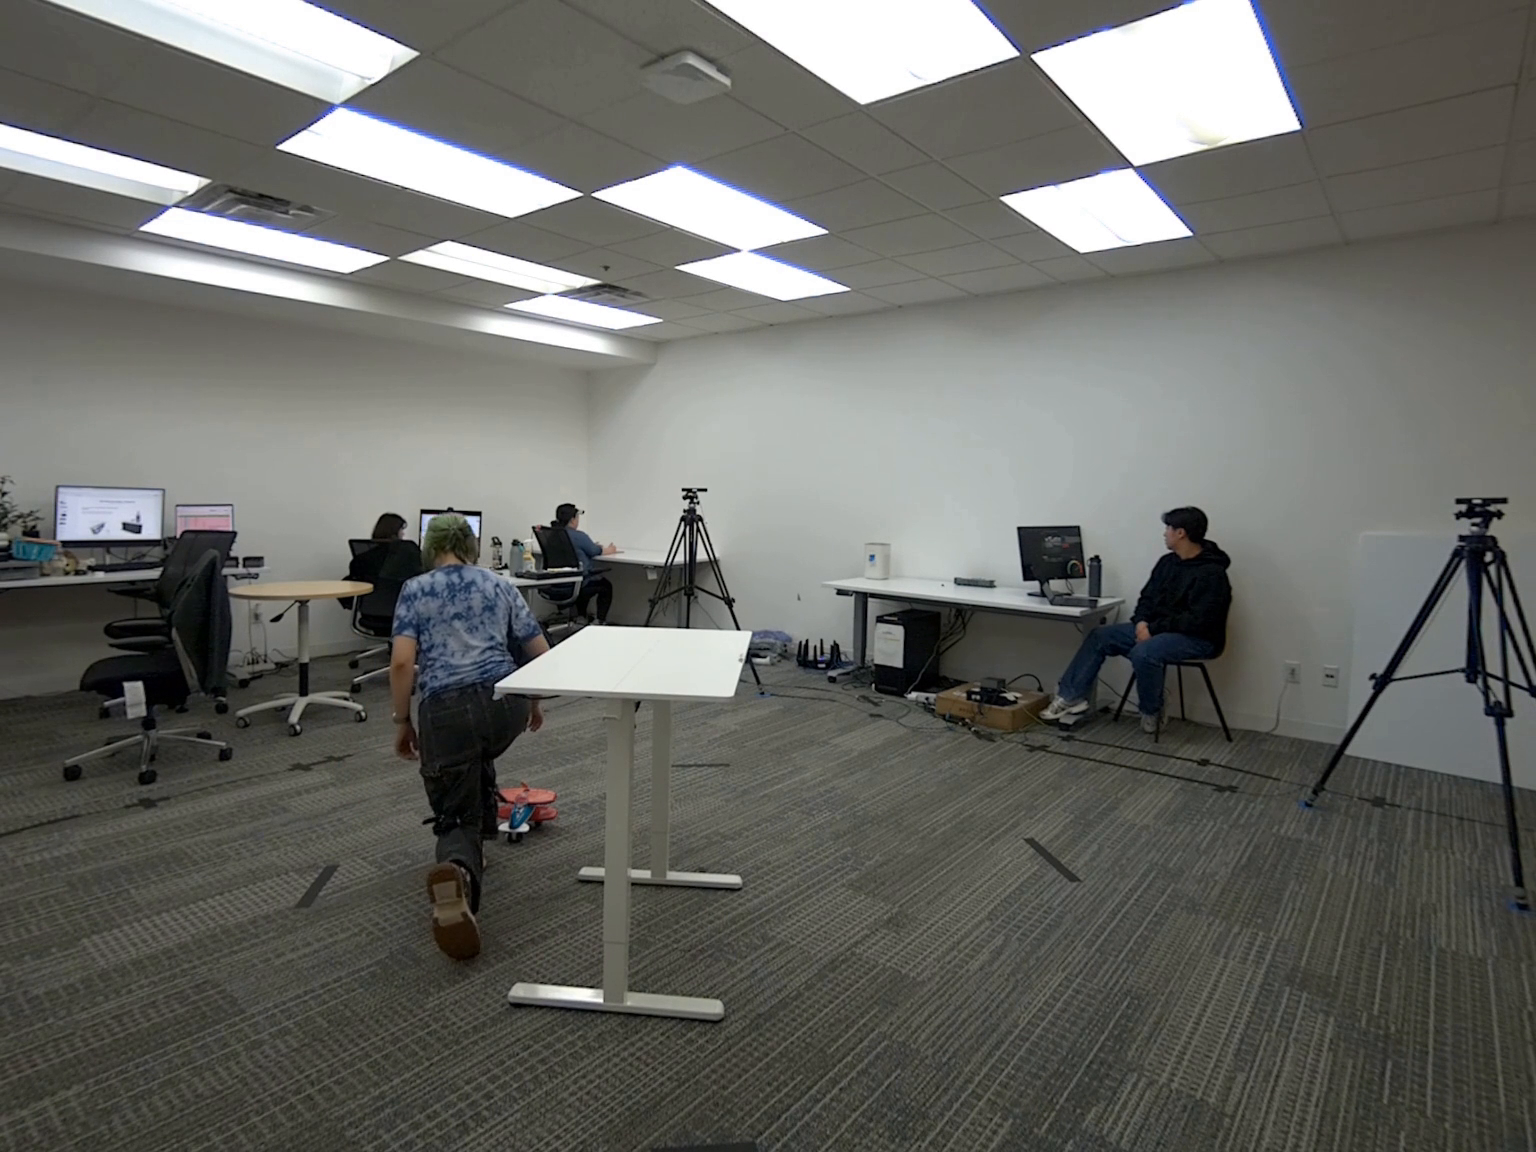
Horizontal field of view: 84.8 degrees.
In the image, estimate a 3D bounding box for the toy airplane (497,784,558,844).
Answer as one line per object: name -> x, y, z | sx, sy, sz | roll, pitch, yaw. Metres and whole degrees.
toy airplane -> -0.983, 0.955, 3.418 | 0.245, 0.156, 0.266 | -1, 5, -24
